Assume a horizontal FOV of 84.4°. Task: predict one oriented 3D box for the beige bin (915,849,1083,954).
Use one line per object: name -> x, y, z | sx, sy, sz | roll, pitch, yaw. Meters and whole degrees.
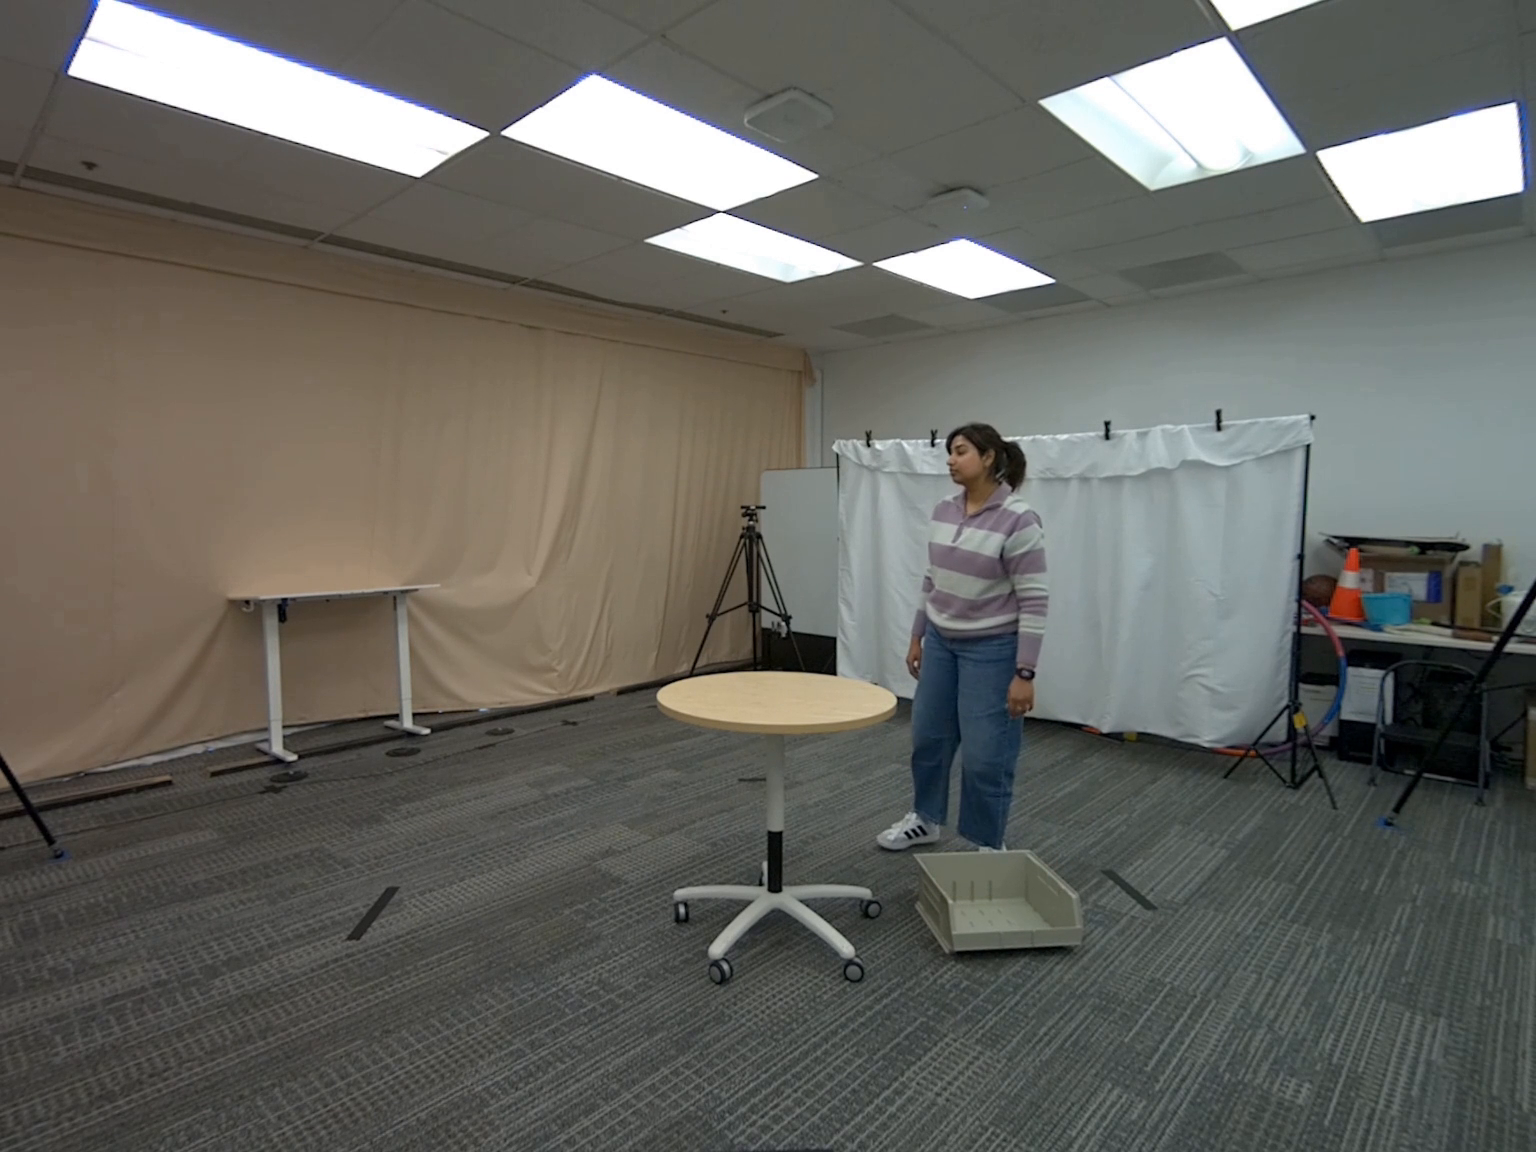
beige bin -> 0.745, 1.078, 2.749 | 0.420, 0.188, 0.380 | 0, 4, -6
